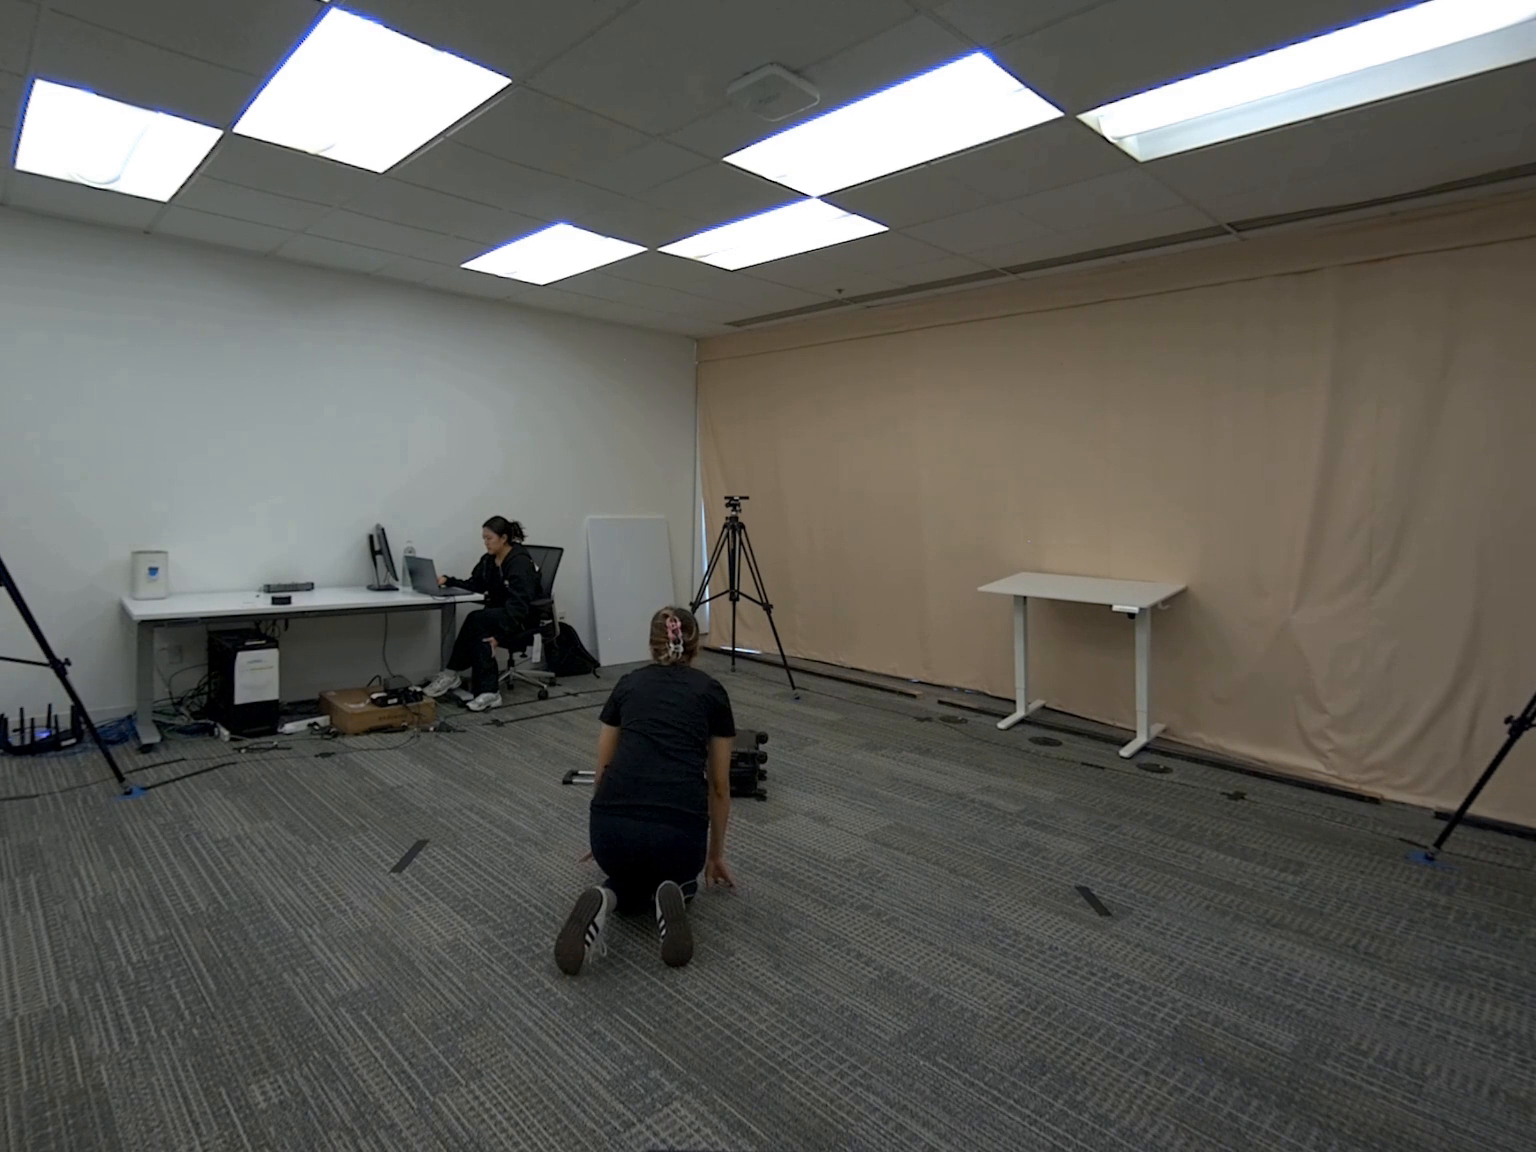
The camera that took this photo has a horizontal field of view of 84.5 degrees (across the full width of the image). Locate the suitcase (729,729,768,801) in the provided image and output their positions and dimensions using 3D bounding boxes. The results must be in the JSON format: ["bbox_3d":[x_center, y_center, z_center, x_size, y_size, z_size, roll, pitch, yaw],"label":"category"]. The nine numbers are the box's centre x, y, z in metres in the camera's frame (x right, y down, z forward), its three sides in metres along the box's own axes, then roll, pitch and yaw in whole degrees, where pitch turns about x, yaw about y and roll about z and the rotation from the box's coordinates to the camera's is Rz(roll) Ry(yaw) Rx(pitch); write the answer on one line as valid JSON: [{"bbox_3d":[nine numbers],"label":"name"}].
[{"bbox_3d":[-0.492,0.889,4.089,0.981,0.256,0.385,3,6,2],"label":"suitcase"}]
